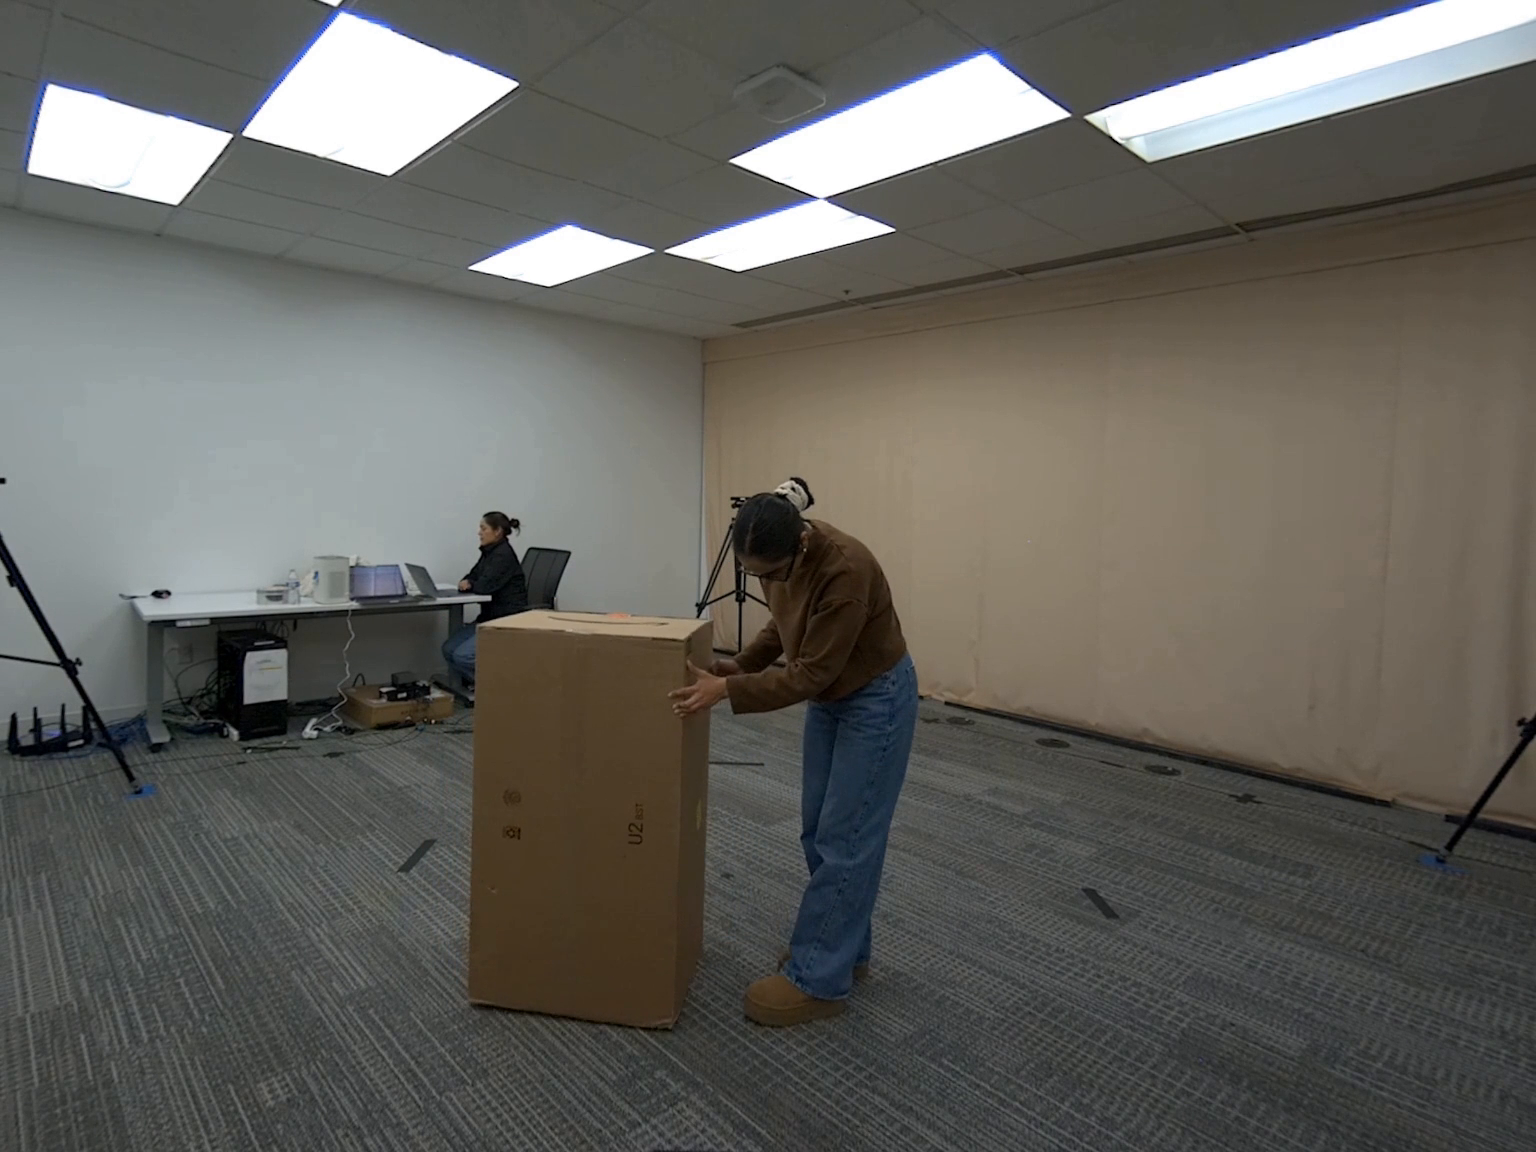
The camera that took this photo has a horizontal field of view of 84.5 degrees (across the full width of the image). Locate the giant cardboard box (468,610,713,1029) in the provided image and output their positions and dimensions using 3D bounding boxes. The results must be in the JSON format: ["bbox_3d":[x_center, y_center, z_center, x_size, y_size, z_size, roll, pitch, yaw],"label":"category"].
[{"bbox_3d":[-0.496,0.645,2.419,0.582,1.024,0.423,2,2,8],"label":"giant cardboard box"}]
